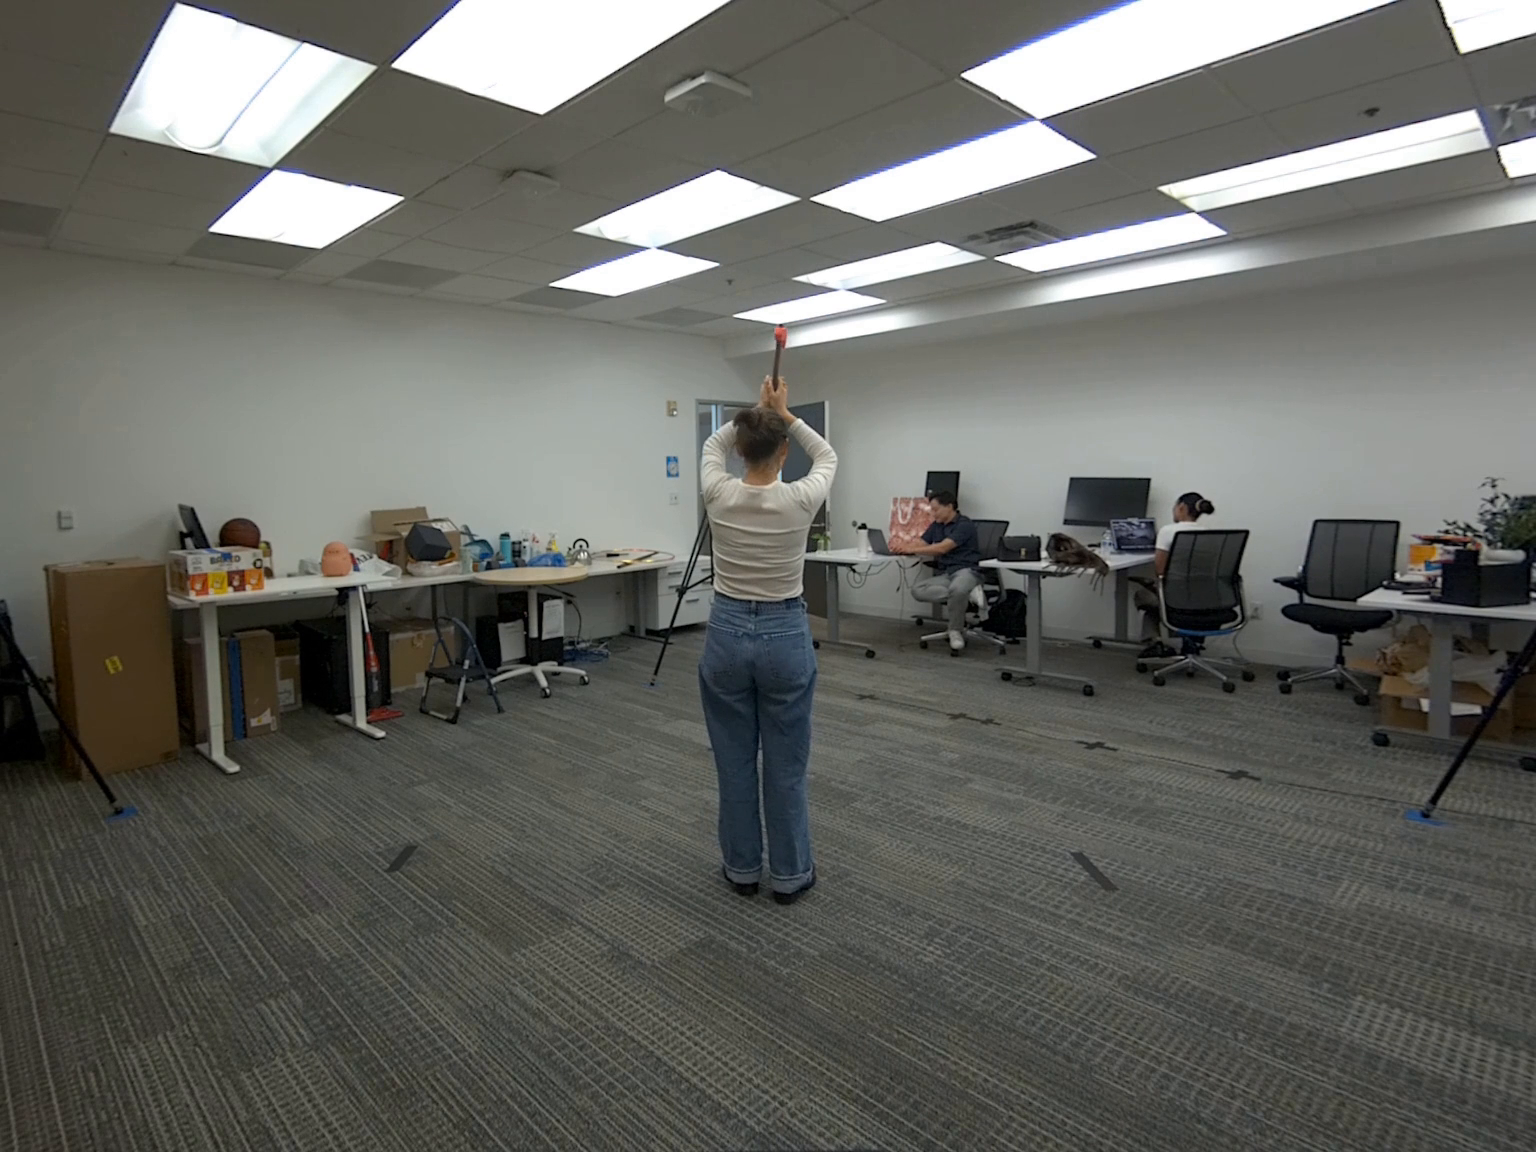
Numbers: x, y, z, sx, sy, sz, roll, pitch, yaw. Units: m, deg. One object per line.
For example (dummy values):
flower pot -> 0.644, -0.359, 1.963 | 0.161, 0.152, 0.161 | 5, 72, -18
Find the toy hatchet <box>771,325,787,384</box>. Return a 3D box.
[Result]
toy hatchet -> 0.039, -0.731, 2.923 | 0.030, 0.264, 0.132 | 11, 34, 8
